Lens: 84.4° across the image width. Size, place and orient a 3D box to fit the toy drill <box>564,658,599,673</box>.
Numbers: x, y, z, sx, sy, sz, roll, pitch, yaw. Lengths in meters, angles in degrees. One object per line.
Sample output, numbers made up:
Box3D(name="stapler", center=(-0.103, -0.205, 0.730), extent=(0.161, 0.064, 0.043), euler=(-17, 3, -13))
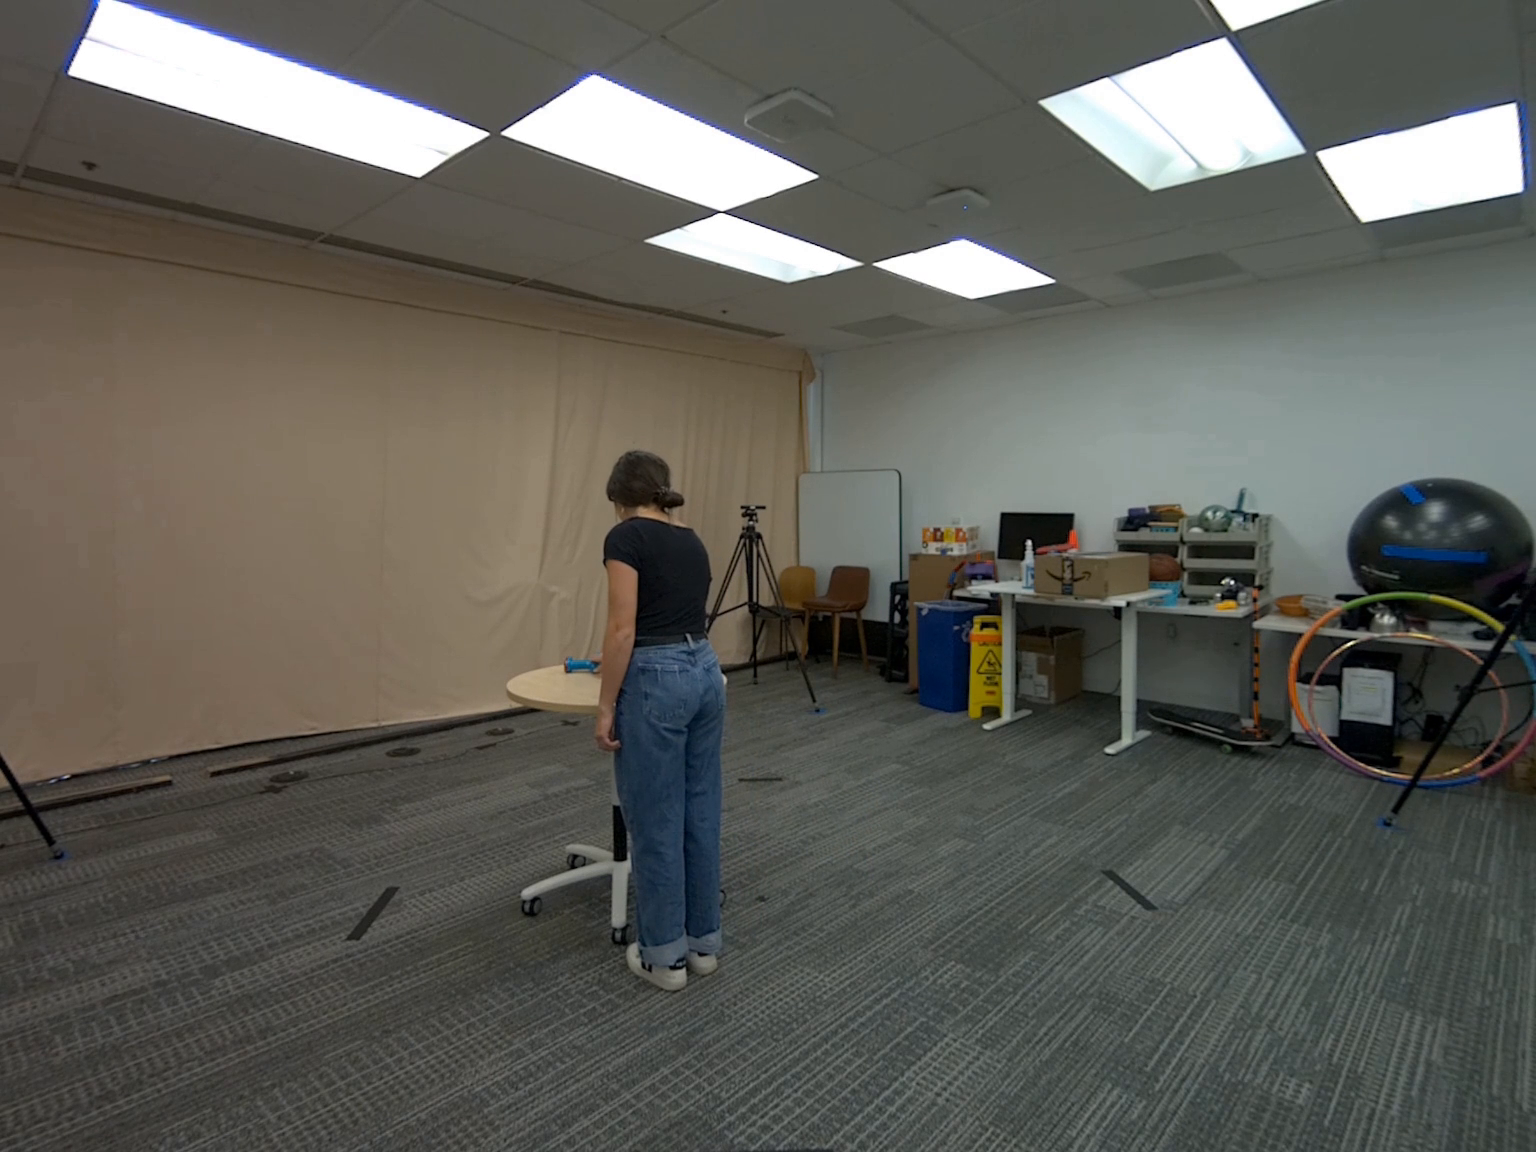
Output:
Box3D(name="toy drill", center=(-0.673, 0.323, 3.143), extent=(0.146, 0.061, 0.170), euler=(0, 11, 1))
